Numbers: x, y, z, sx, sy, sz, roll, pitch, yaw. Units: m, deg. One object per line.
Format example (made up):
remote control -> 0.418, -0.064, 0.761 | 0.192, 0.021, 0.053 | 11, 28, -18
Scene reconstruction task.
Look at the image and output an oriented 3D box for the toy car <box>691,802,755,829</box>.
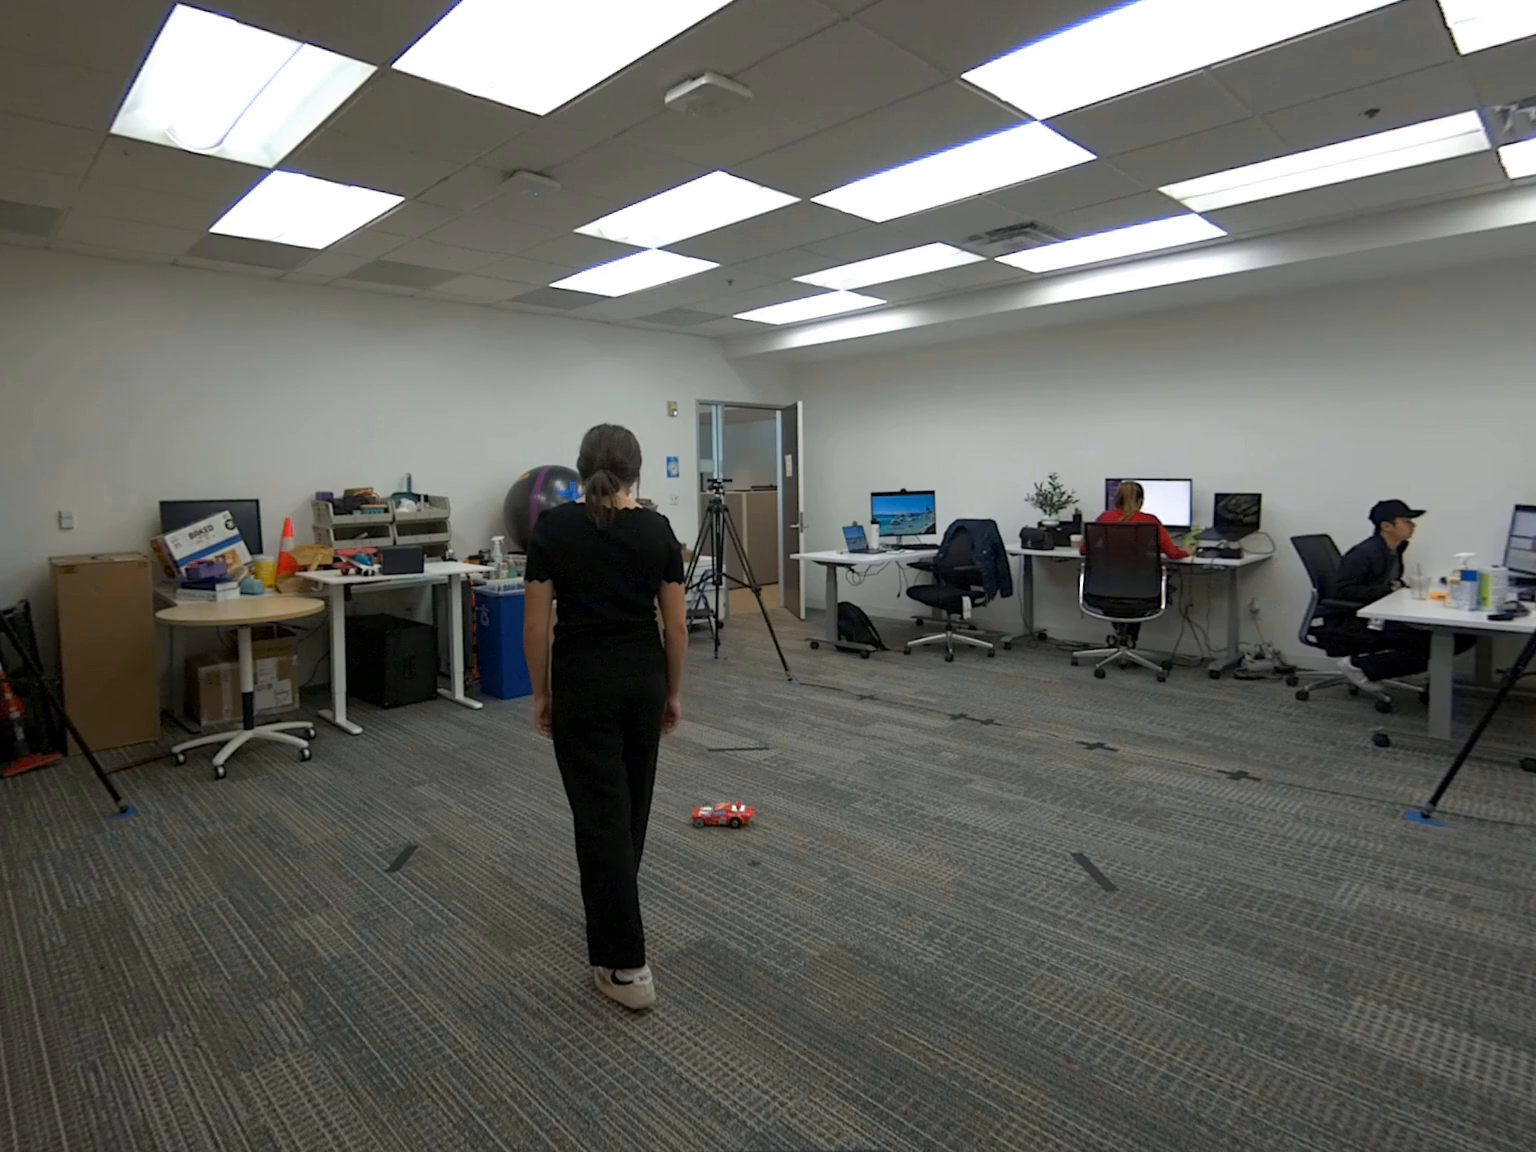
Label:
toy car -> -0.177, 0.975, 3.474 | 0.256, 0.083, 0.130 | -12, 5, 6
